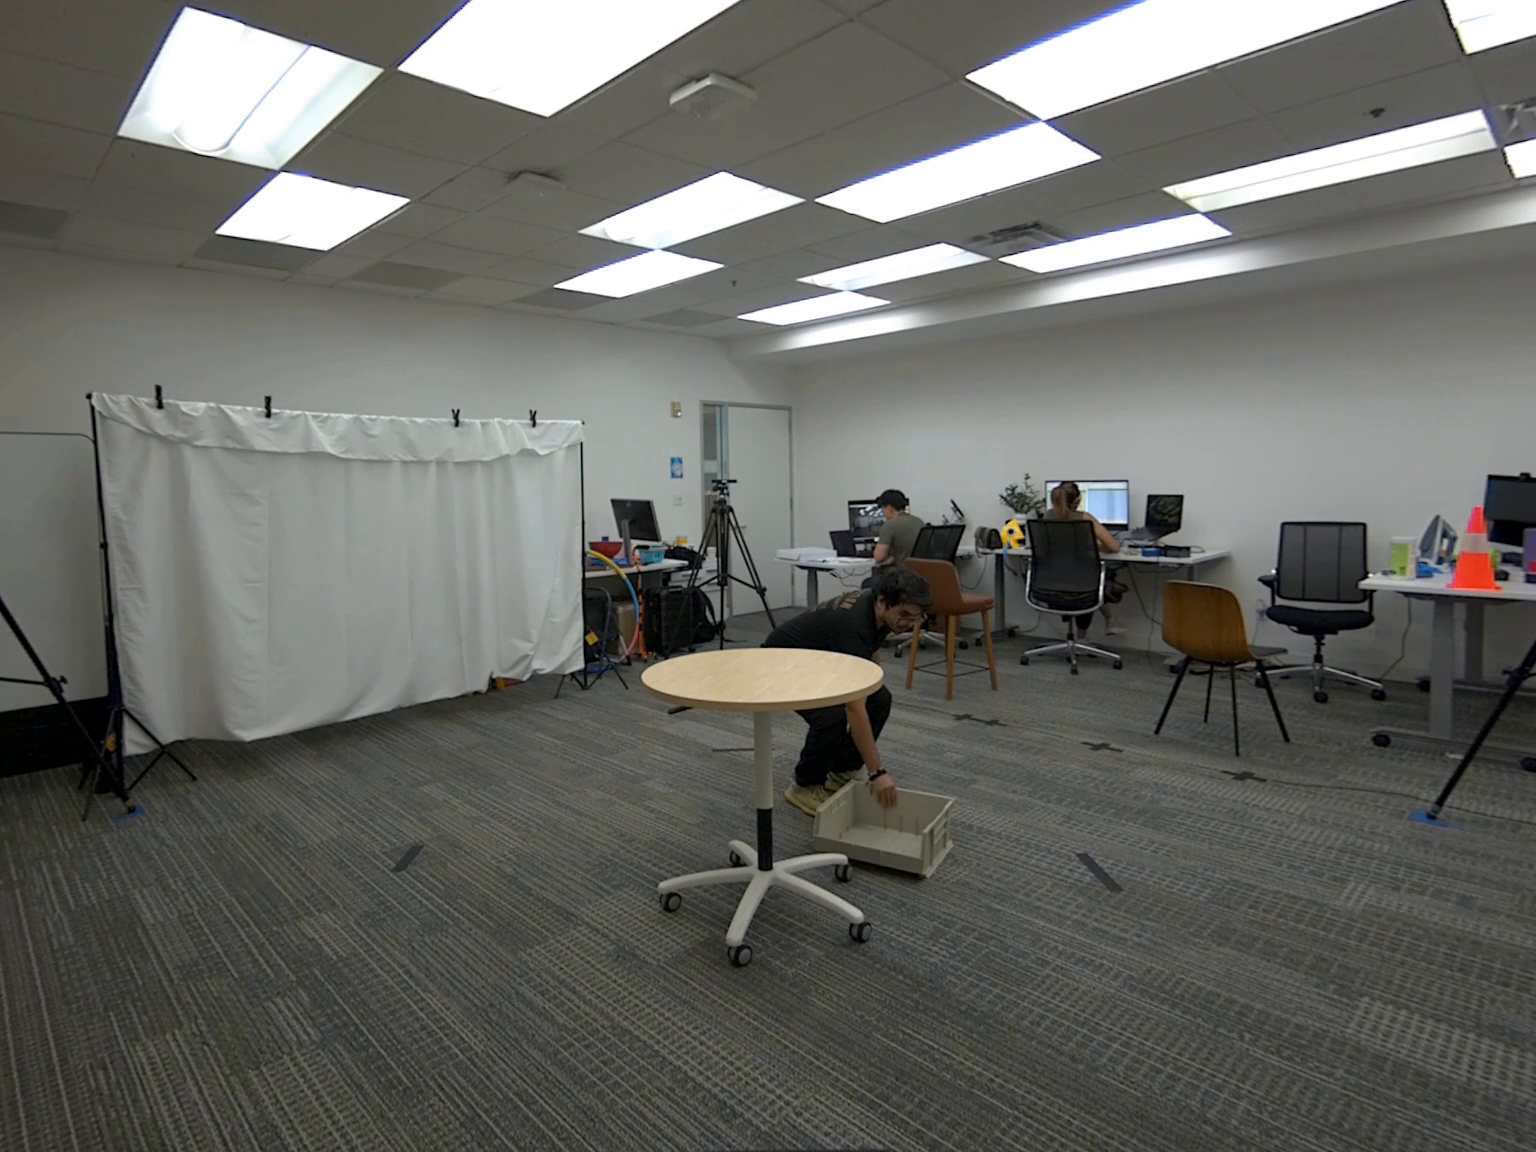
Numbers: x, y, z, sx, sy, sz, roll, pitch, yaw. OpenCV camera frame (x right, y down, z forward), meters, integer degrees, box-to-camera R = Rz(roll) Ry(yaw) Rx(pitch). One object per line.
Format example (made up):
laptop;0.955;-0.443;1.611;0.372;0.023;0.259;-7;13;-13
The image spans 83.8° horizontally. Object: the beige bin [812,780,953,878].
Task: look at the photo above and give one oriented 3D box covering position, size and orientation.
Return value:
beige bin;0.441;0.944;3.185;0.433;0.188;0.369;2;6;29
